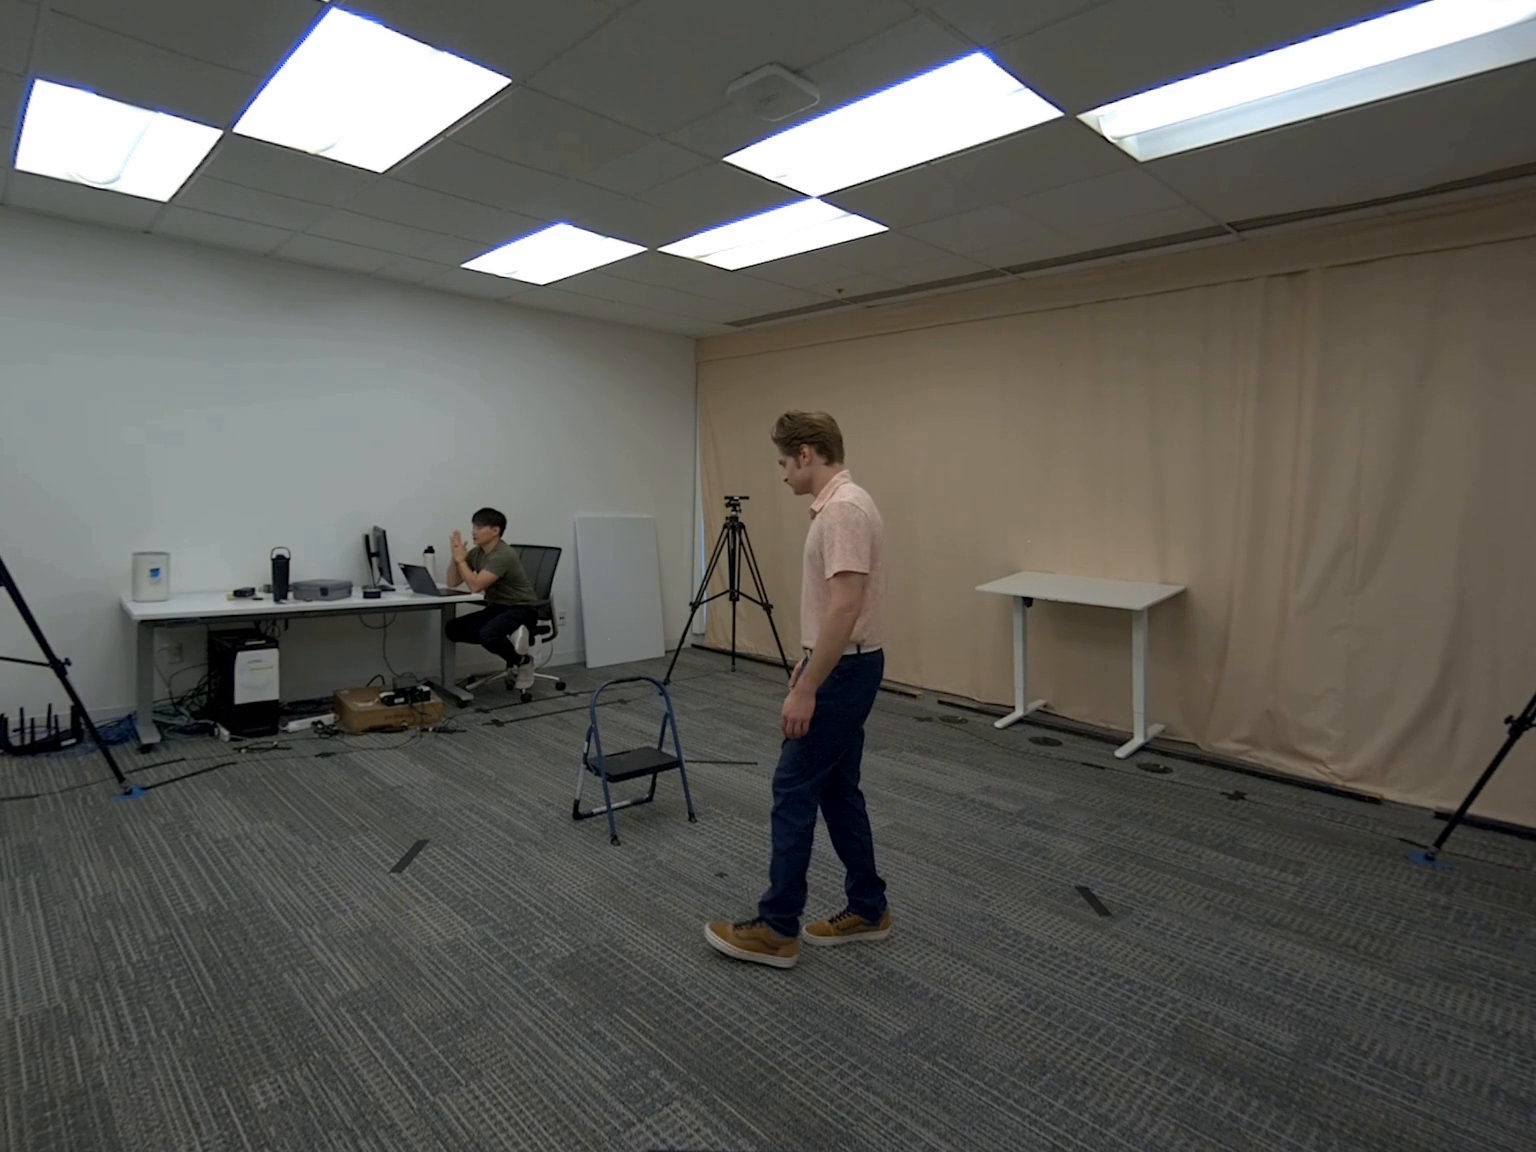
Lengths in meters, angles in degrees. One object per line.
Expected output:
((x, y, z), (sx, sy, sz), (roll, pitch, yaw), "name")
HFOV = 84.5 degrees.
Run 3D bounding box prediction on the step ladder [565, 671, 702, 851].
((-0.573, 0.755, 3.596), (0.420, 0.605, 0.358), (0, 4, -44), "step ladder")
